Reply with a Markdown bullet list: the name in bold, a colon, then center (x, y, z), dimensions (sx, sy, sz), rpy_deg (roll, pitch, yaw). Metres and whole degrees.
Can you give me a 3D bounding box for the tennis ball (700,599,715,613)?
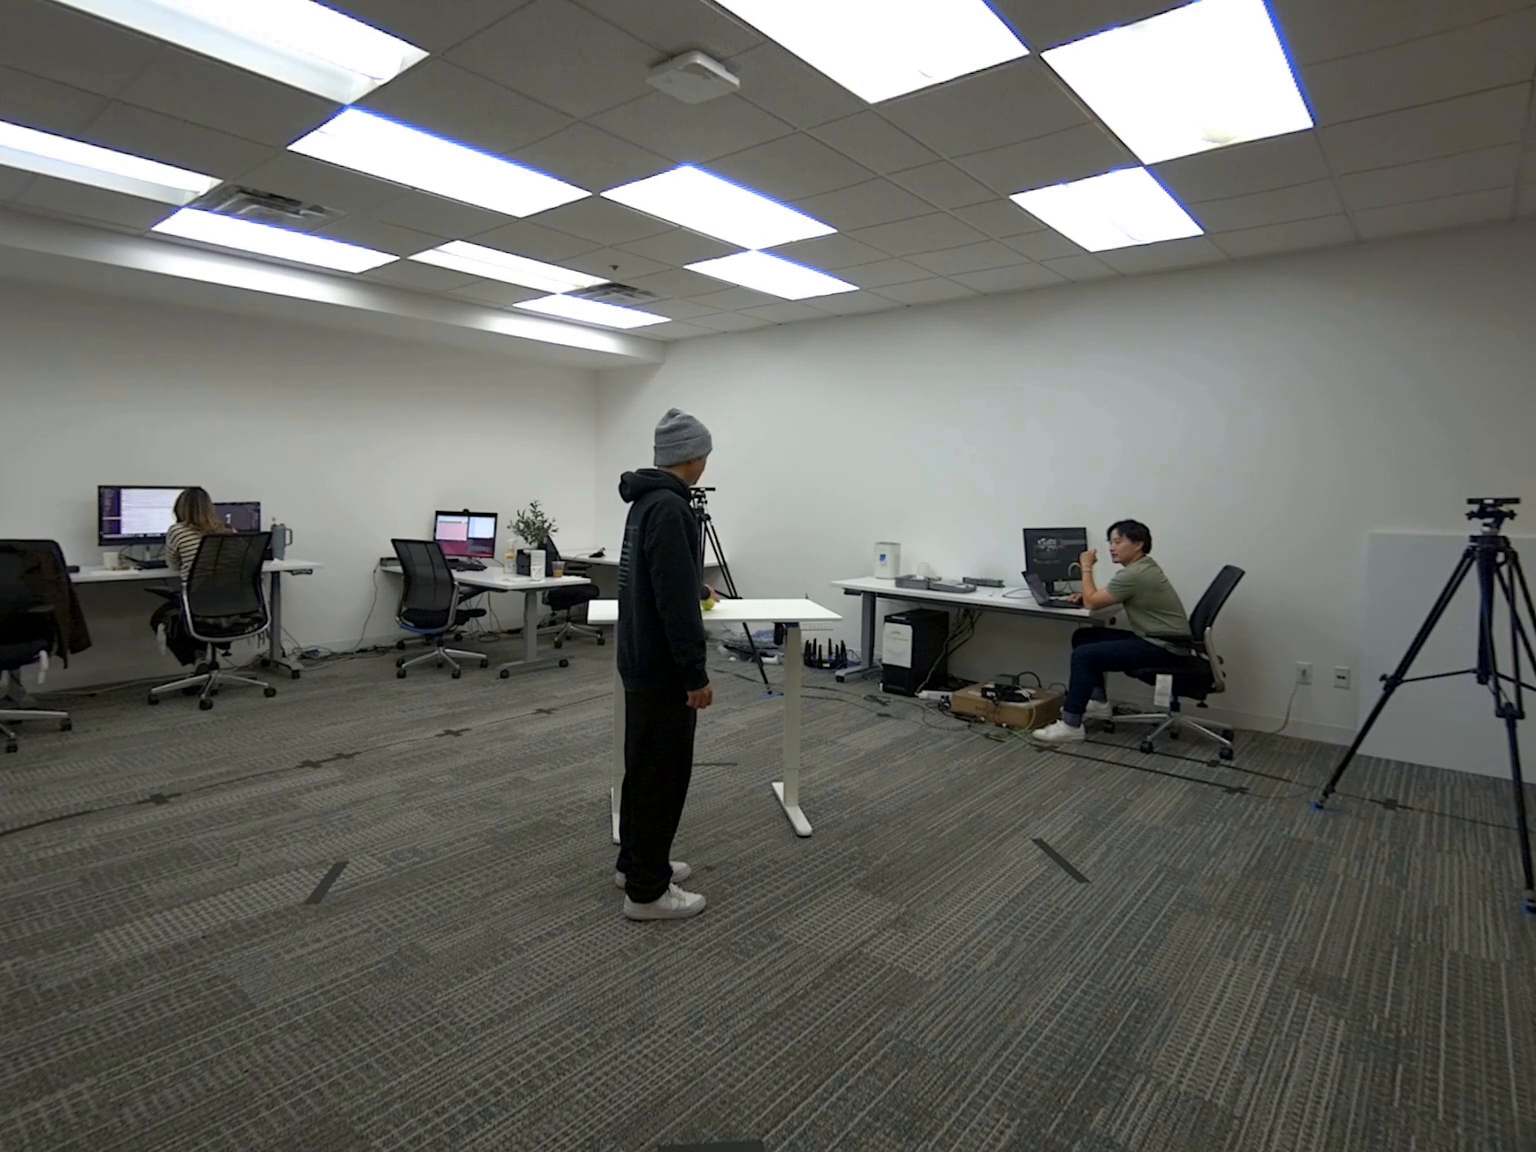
- **tennis ball**: center (-0.261, 0.105, 3.562), dimensions (0.066, 0.066, 0.067), rpy_deg (1, 4, -2)
